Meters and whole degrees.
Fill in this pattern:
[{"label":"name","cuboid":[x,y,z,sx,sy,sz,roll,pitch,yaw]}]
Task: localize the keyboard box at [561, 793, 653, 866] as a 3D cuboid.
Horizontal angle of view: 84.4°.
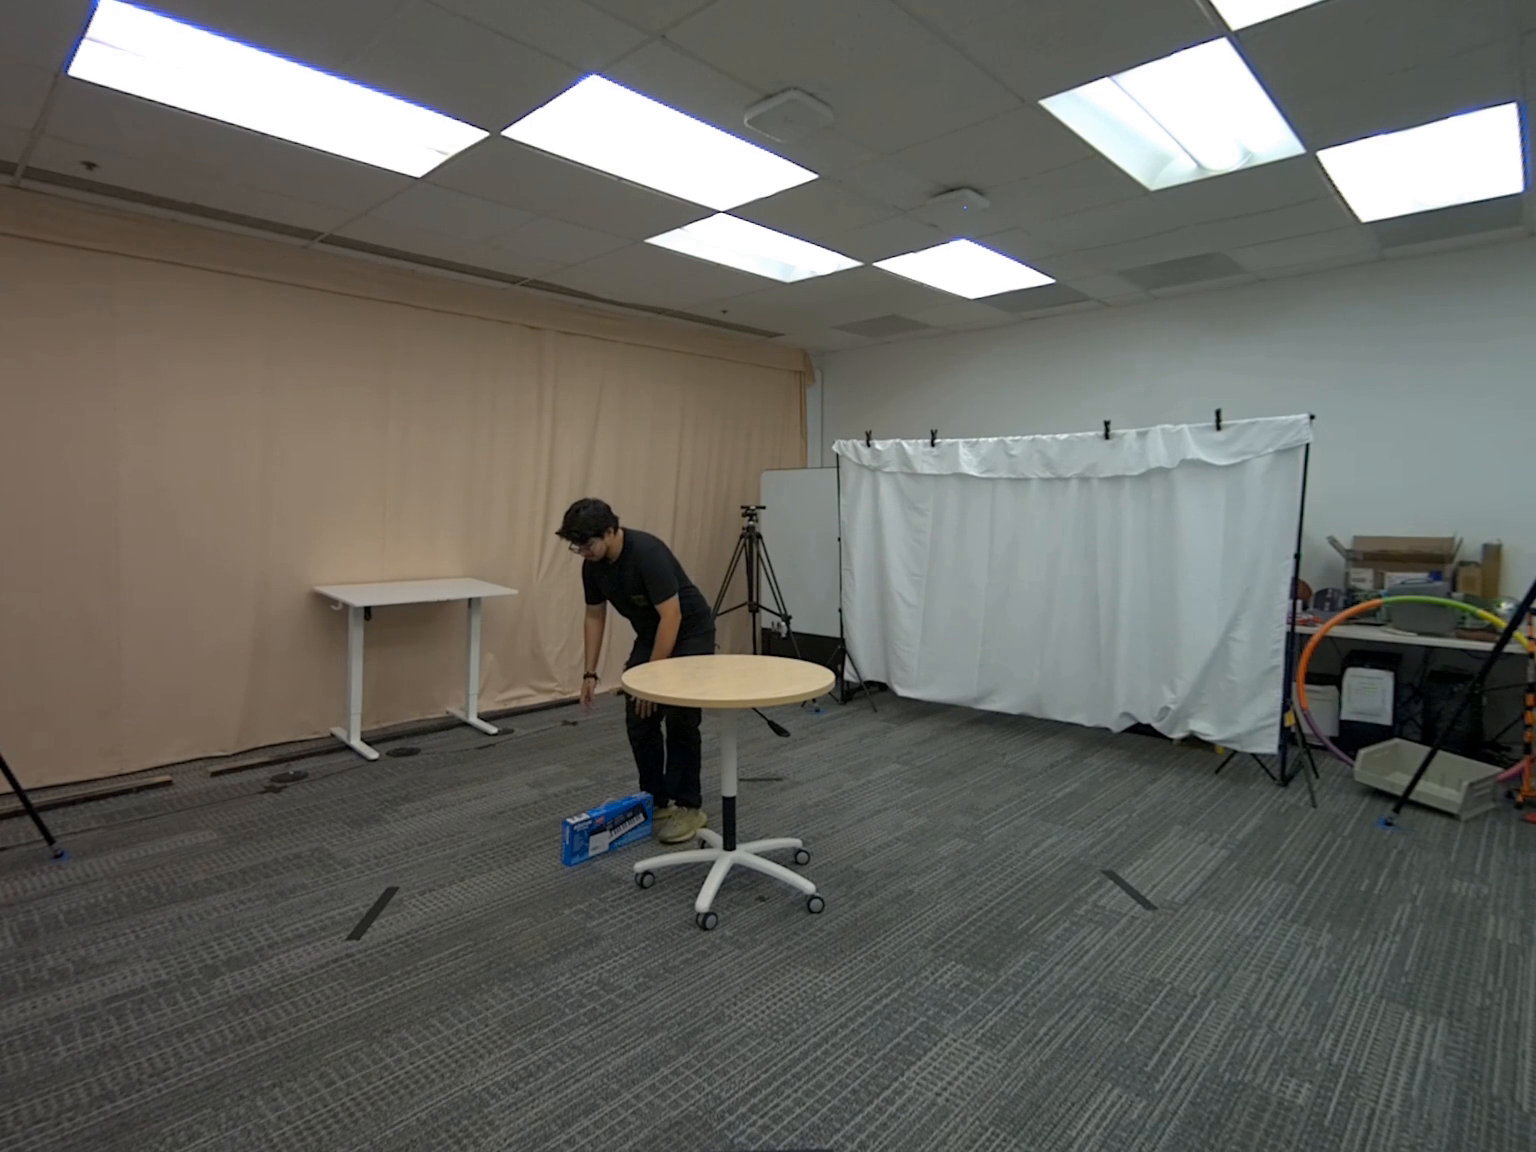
[{"label":"keyboard box","cuboid":[-0.652,1.025,3.436,0.061,0.175,0.424,9,10,39]}]
